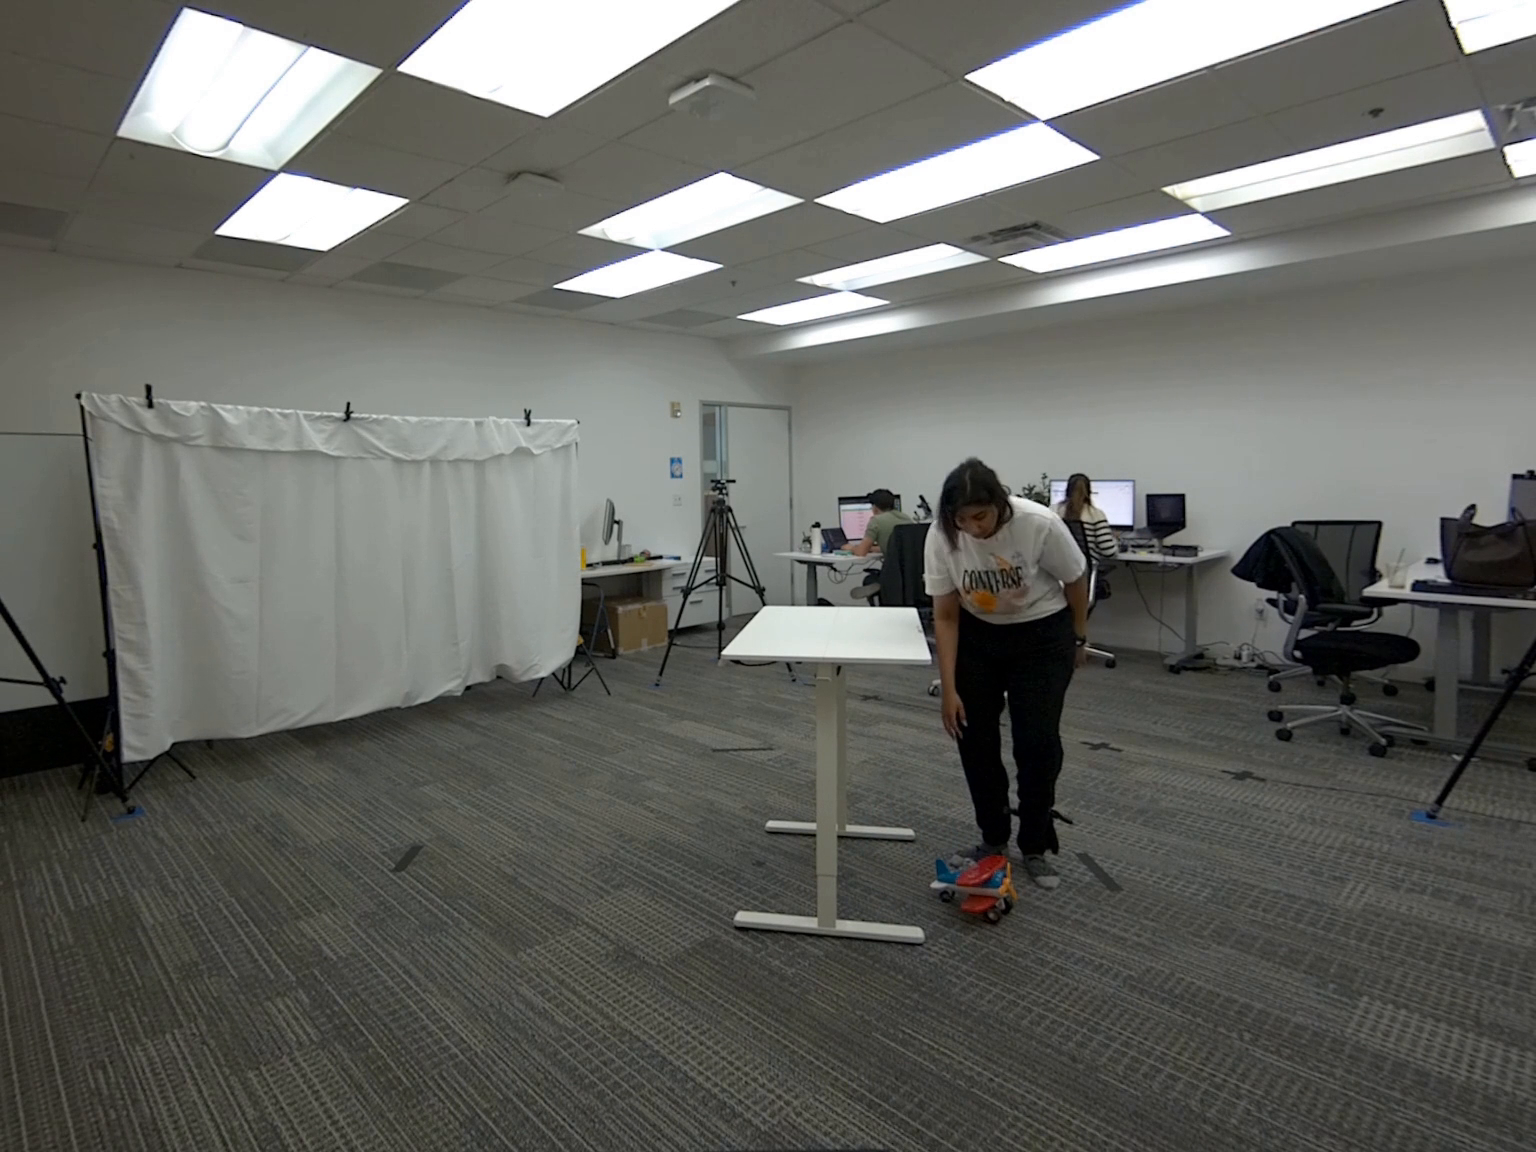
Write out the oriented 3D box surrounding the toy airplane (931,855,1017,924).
[{"bbox_3d":[0.661,1.004,2.735,0.263,0.156,0.249,2,6,14],"label":"toy airplane"}]
